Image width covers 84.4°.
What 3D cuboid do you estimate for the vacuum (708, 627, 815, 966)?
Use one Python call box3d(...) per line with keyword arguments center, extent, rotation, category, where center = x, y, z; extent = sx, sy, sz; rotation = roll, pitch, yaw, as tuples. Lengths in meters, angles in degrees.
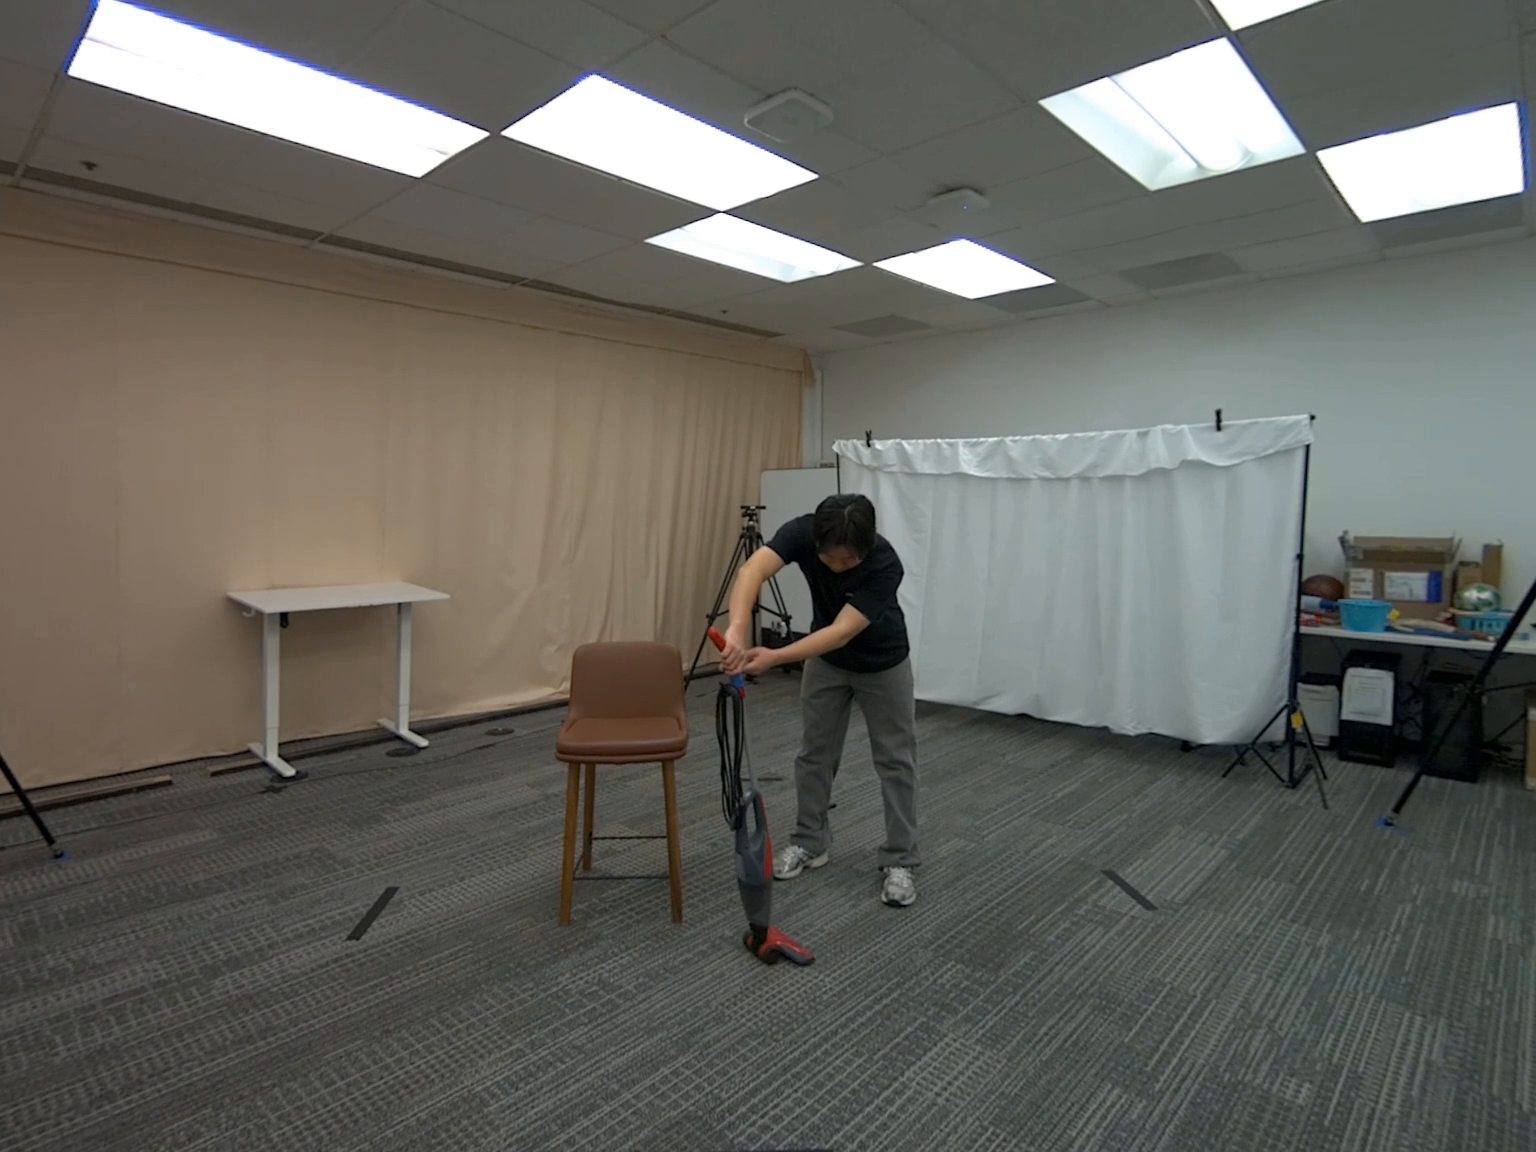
box3d(center=(-0.071, 0.672, 2.550), extent=(0.141, 1.041, 0.260), rotation=(-16, 11, -30), category="vacuum")
